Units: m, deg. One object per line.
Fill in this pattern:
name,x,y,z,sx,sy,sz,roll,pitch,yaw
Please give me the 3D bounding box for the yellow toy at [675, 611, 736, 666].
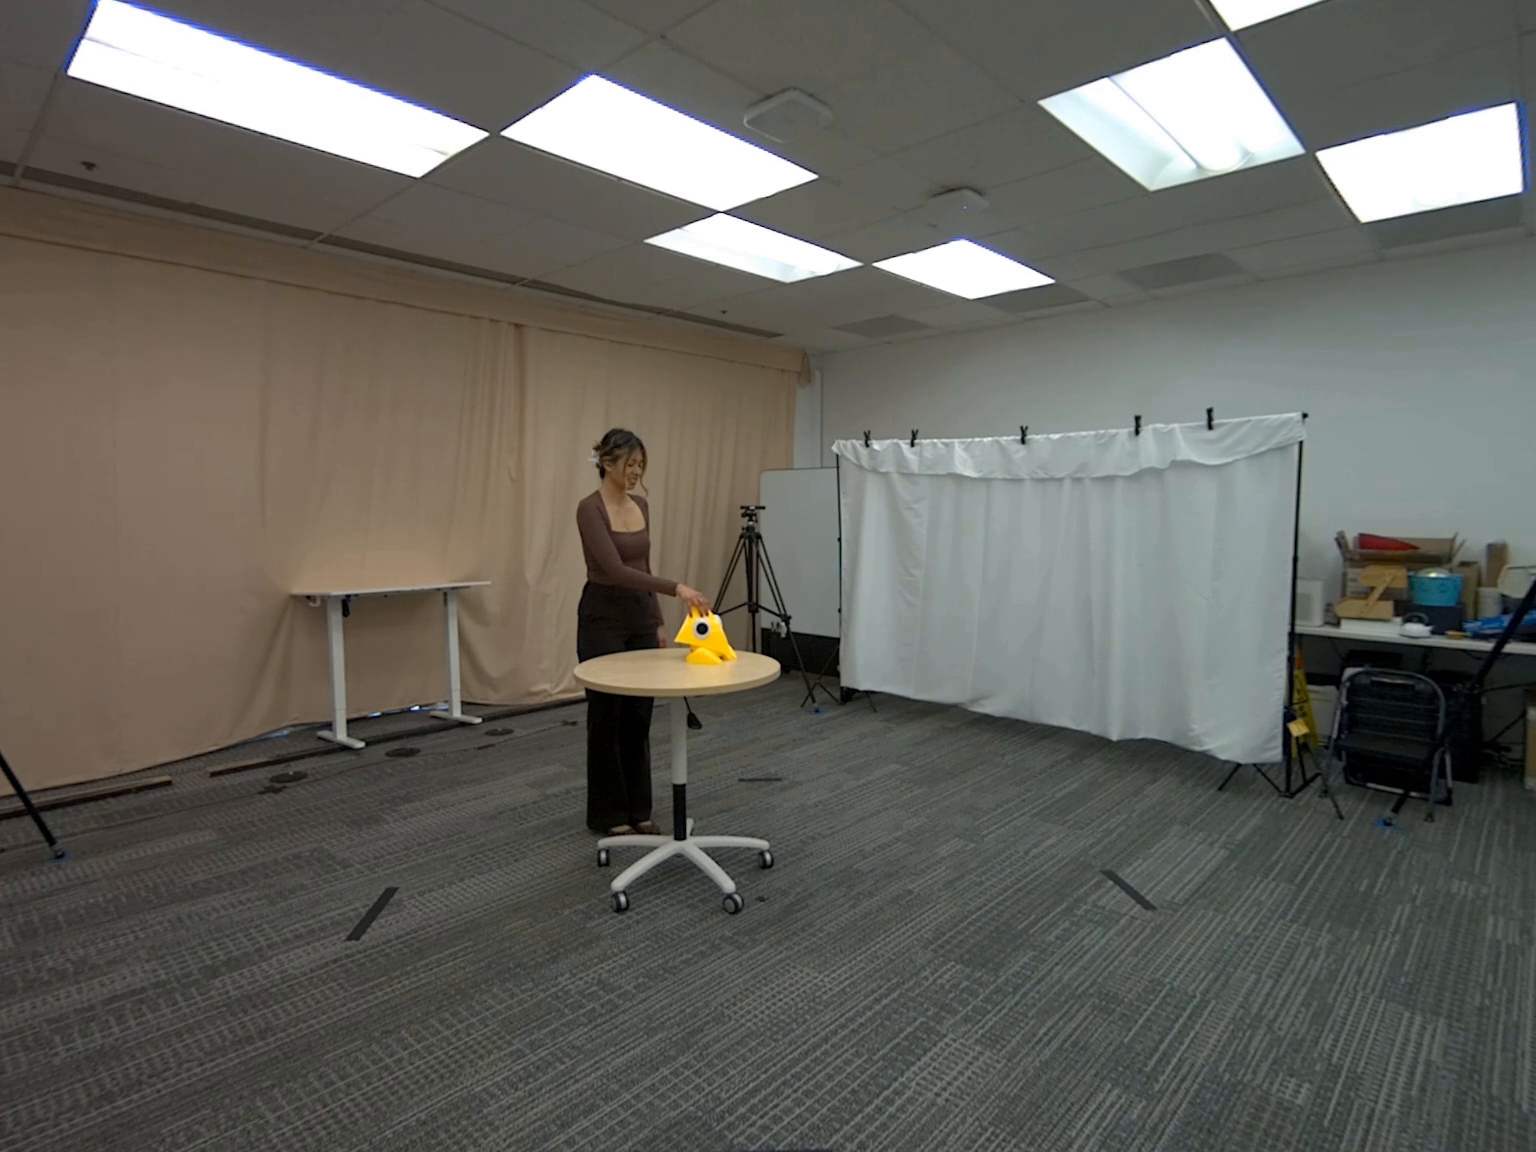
yellow toy,-0.231,0.210,3.259,0.198,0.230,0.200,2,5,28
